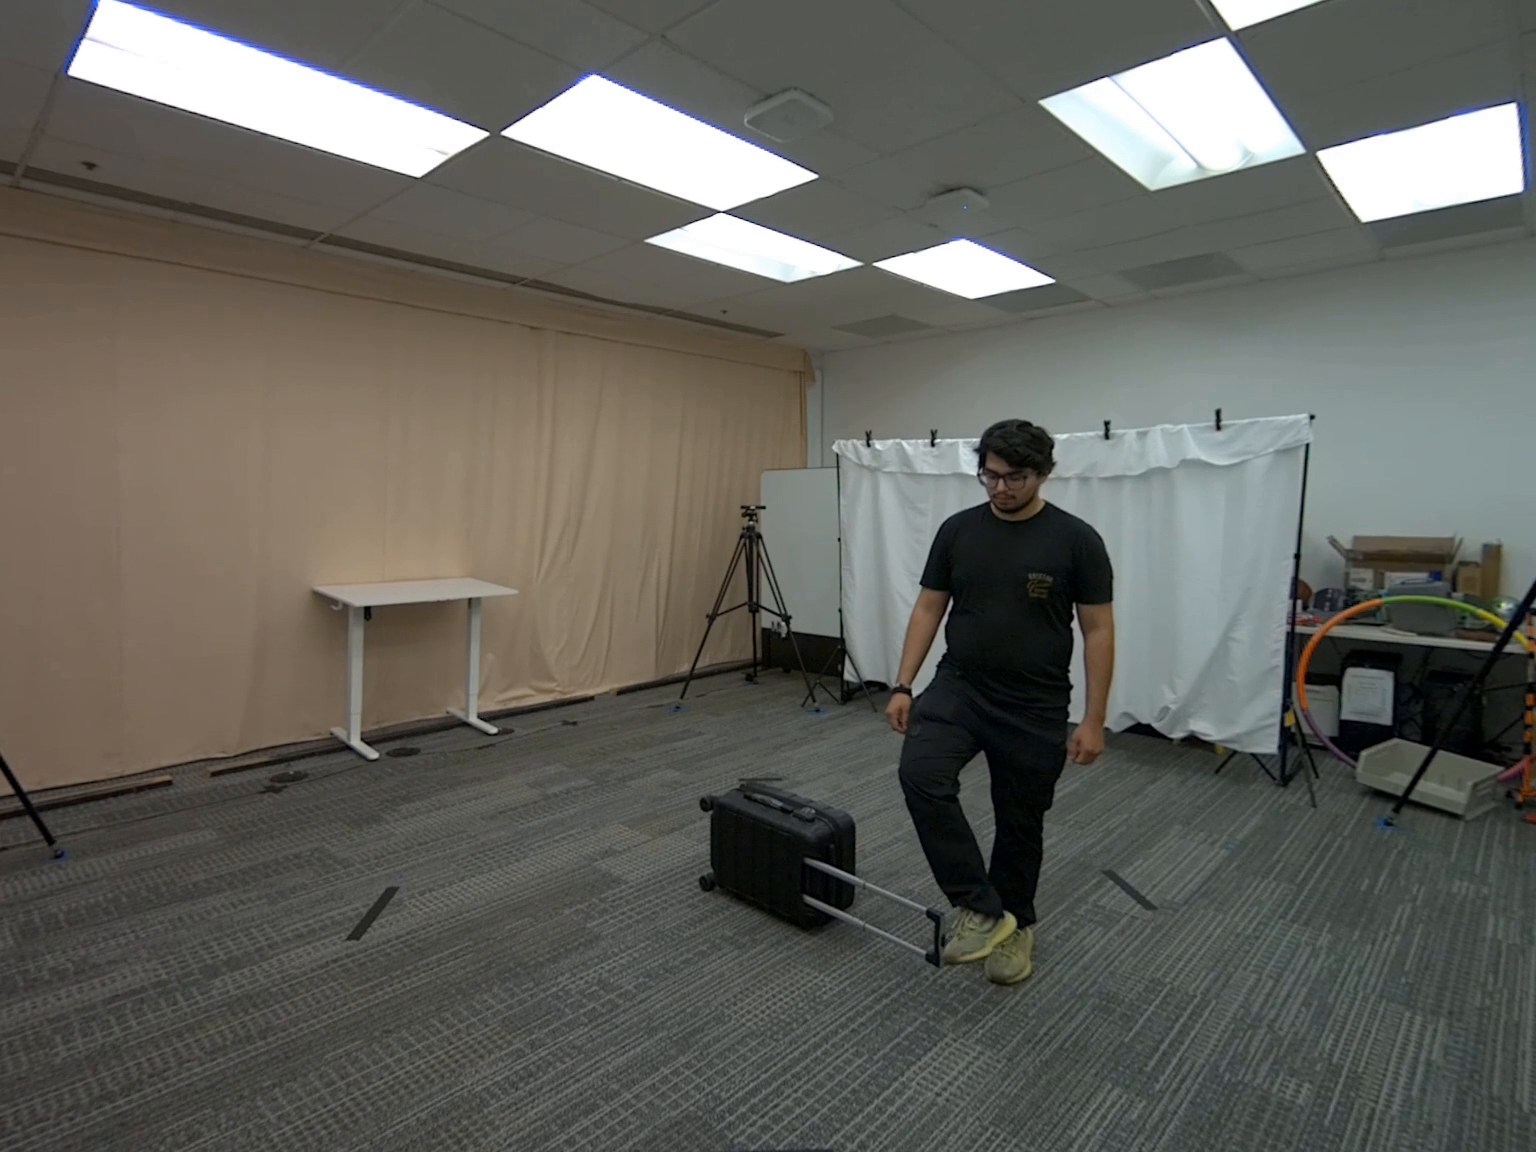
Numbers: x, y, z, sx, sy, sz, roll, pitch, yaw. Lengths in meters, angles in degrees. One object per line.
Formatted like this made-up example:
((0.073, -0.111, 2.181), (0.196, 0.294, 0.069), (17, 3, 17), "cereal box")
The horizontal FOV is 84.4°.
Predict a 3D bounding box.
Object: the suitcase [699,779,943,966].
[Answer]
((0.198, 0.971, 2.801), (1.012, 0.383, 0.249), (5, 5, 43), "suitcase")
